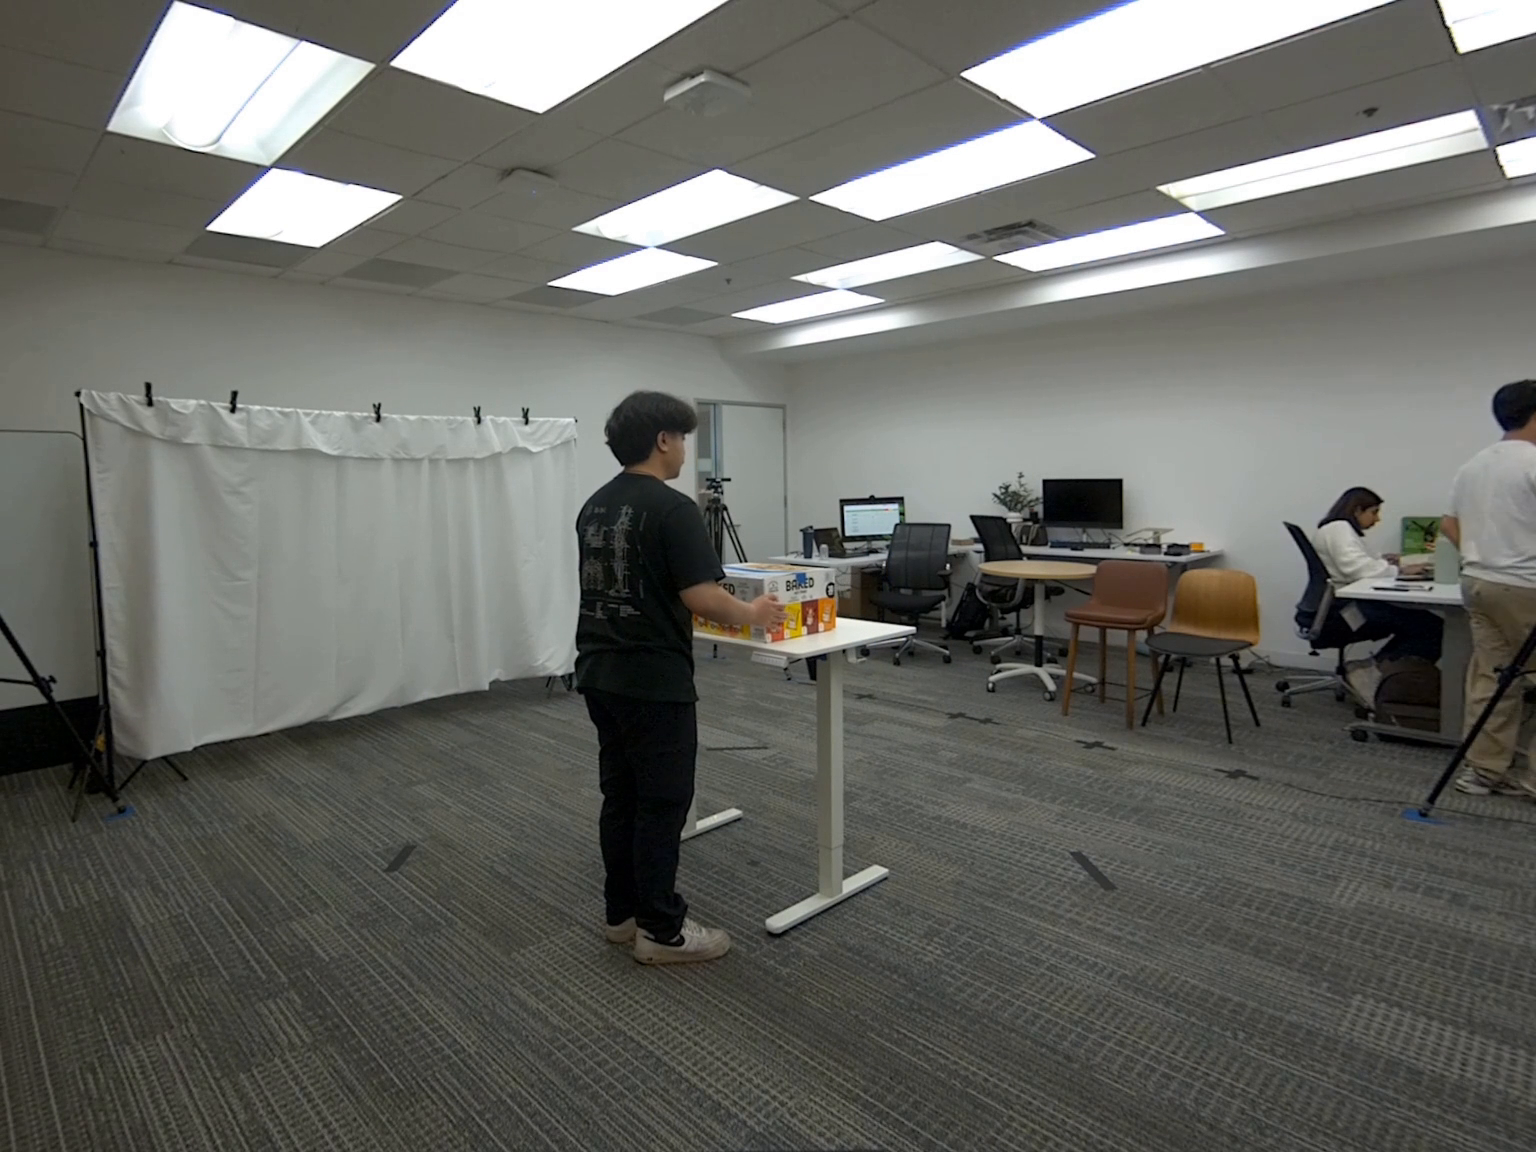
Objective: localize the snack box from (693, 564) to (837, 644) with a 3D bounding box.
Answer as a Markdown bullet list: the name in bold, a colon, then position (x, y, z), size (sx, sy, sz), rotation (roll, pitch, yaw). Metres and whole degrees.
- **snack box**: position (-0.037, 0.078, 2.886), size (0.417, 0.205, 0.331), rotation (4, 7, 45)
